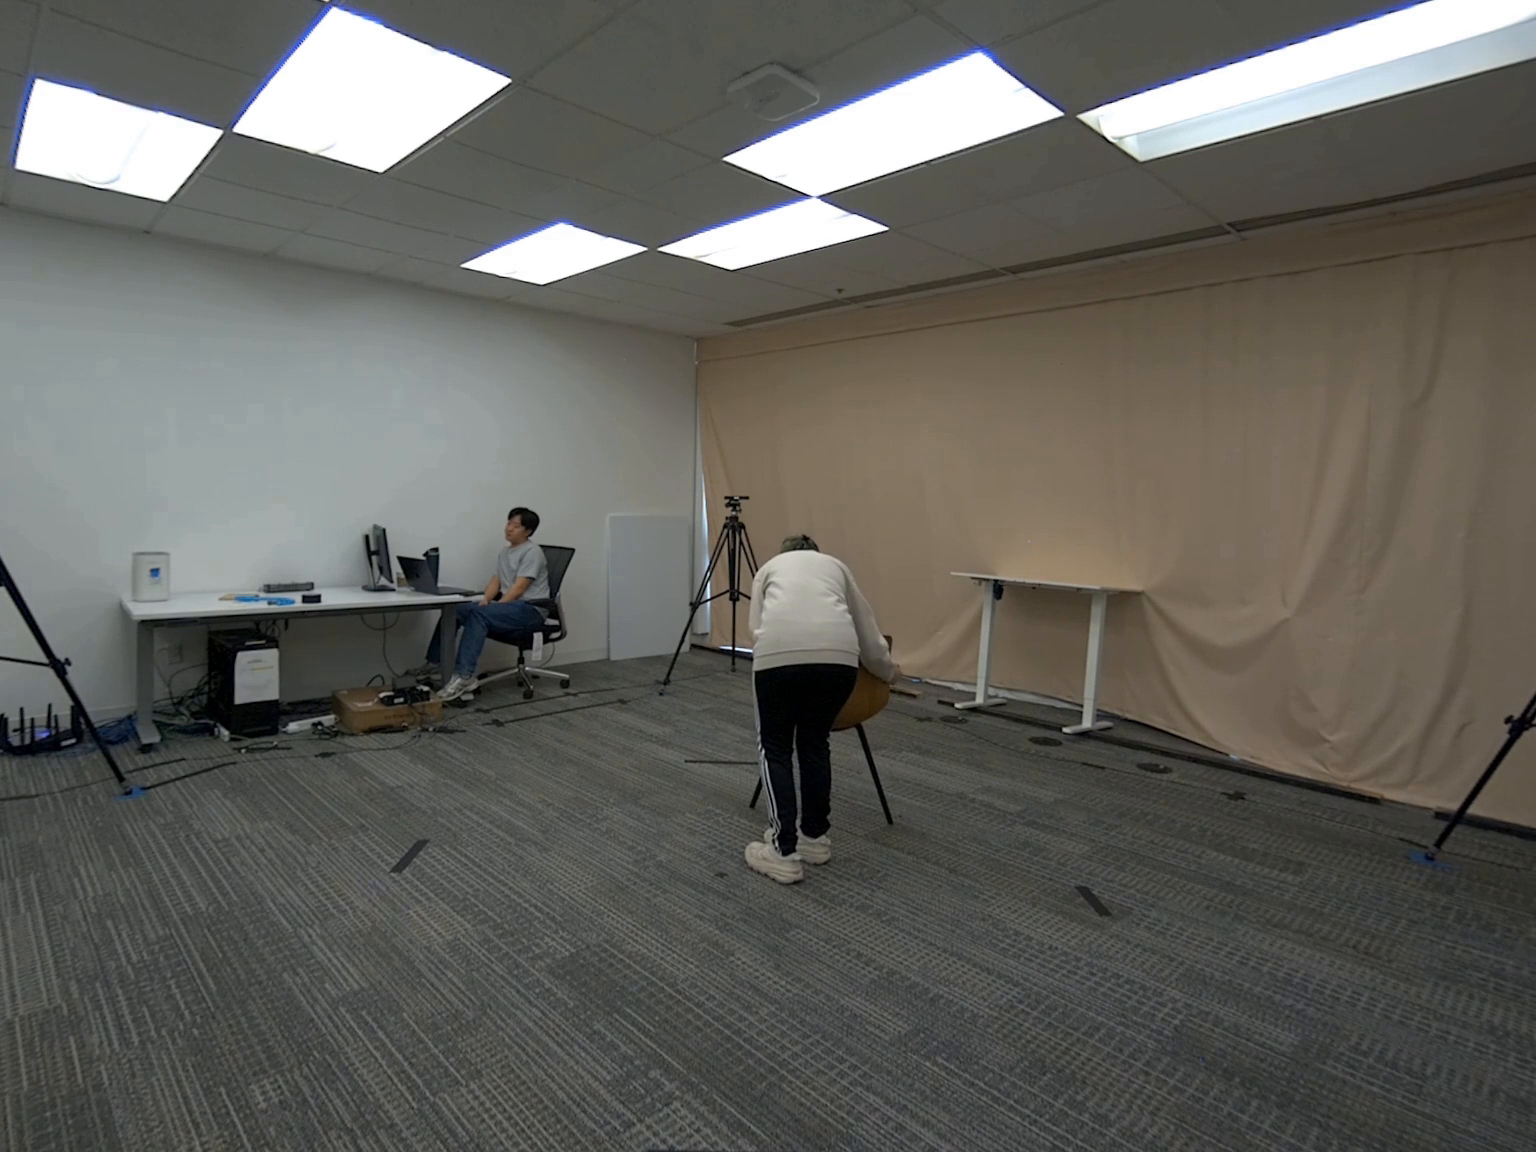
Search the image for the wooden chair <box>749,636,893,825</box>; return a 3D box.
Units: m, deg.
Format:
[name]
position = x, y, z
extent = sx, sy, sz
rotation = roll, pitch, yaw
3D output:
[wooden chair]
position = 0.229, 0.634, 3.697
extent = 0.468, 0.873, 0.537
rotation = 0, 8, -33
